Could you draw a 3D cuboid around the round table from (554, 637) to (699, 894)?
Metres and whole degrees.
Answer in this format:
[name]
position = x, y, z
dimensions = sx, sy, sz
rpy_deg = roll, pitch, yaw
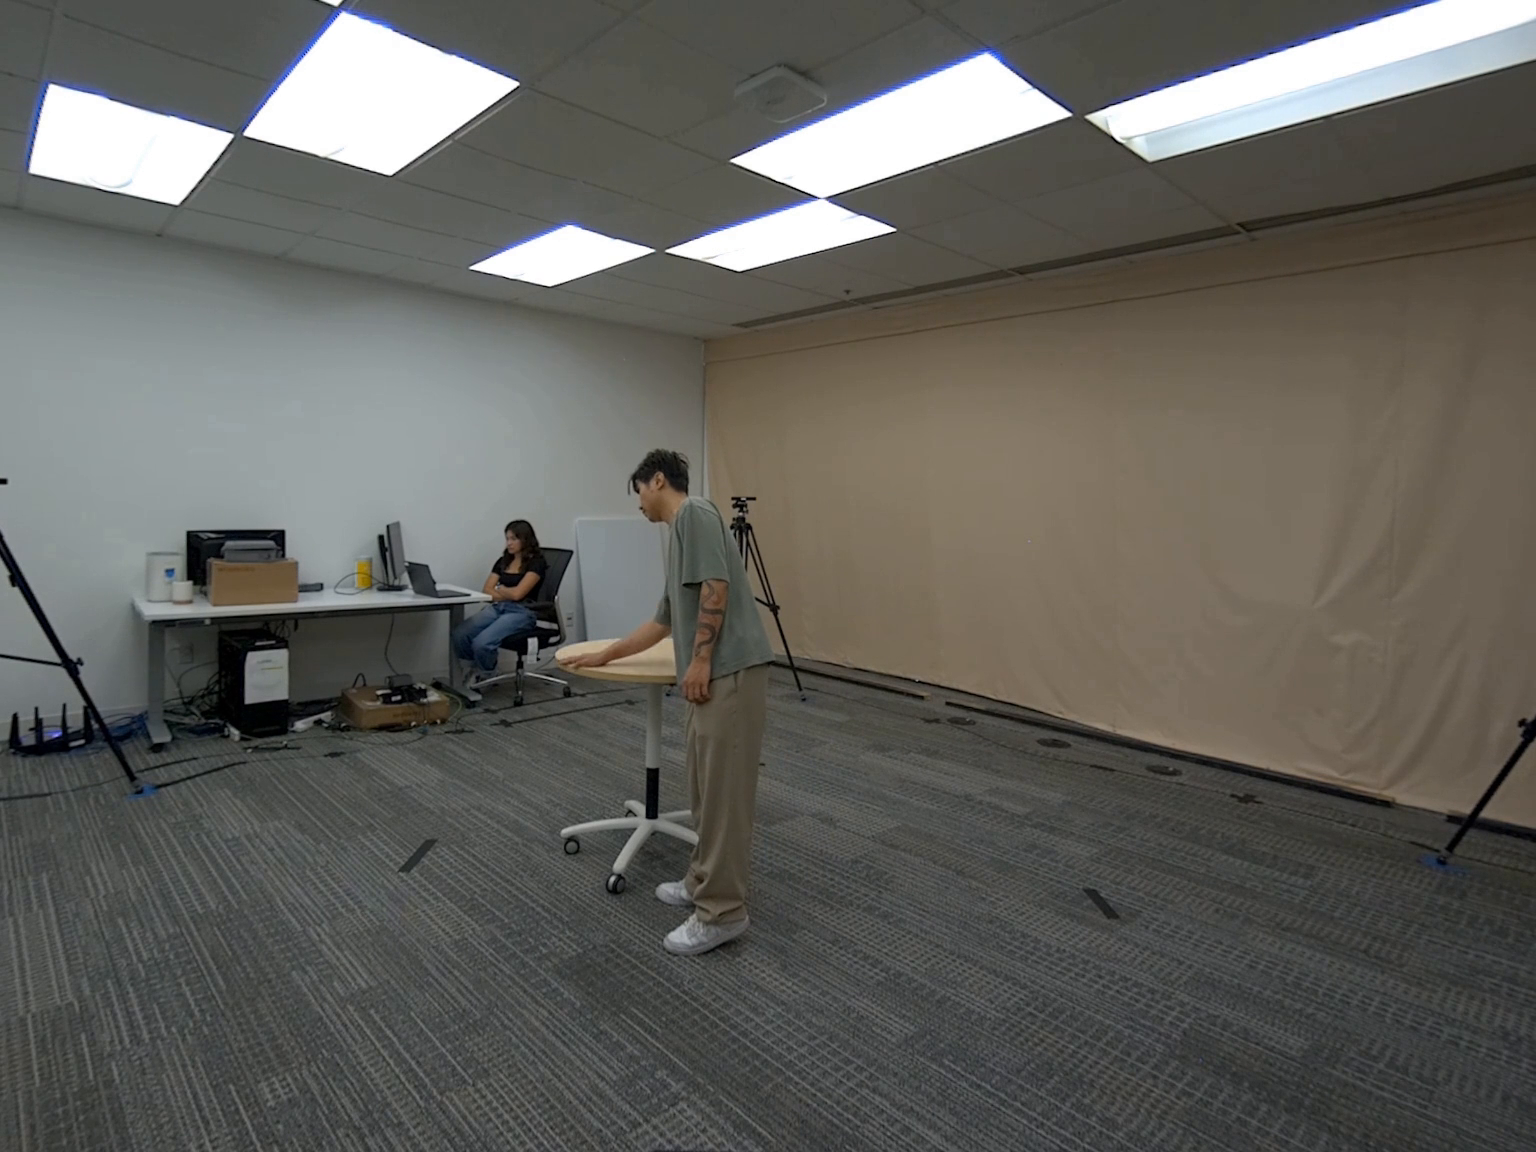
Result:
[round table]
position = -0.460, 0.697, 3.274
dimensions = 0.763, 0.792, 0.767
rpy_deg = 1, 4, -1
